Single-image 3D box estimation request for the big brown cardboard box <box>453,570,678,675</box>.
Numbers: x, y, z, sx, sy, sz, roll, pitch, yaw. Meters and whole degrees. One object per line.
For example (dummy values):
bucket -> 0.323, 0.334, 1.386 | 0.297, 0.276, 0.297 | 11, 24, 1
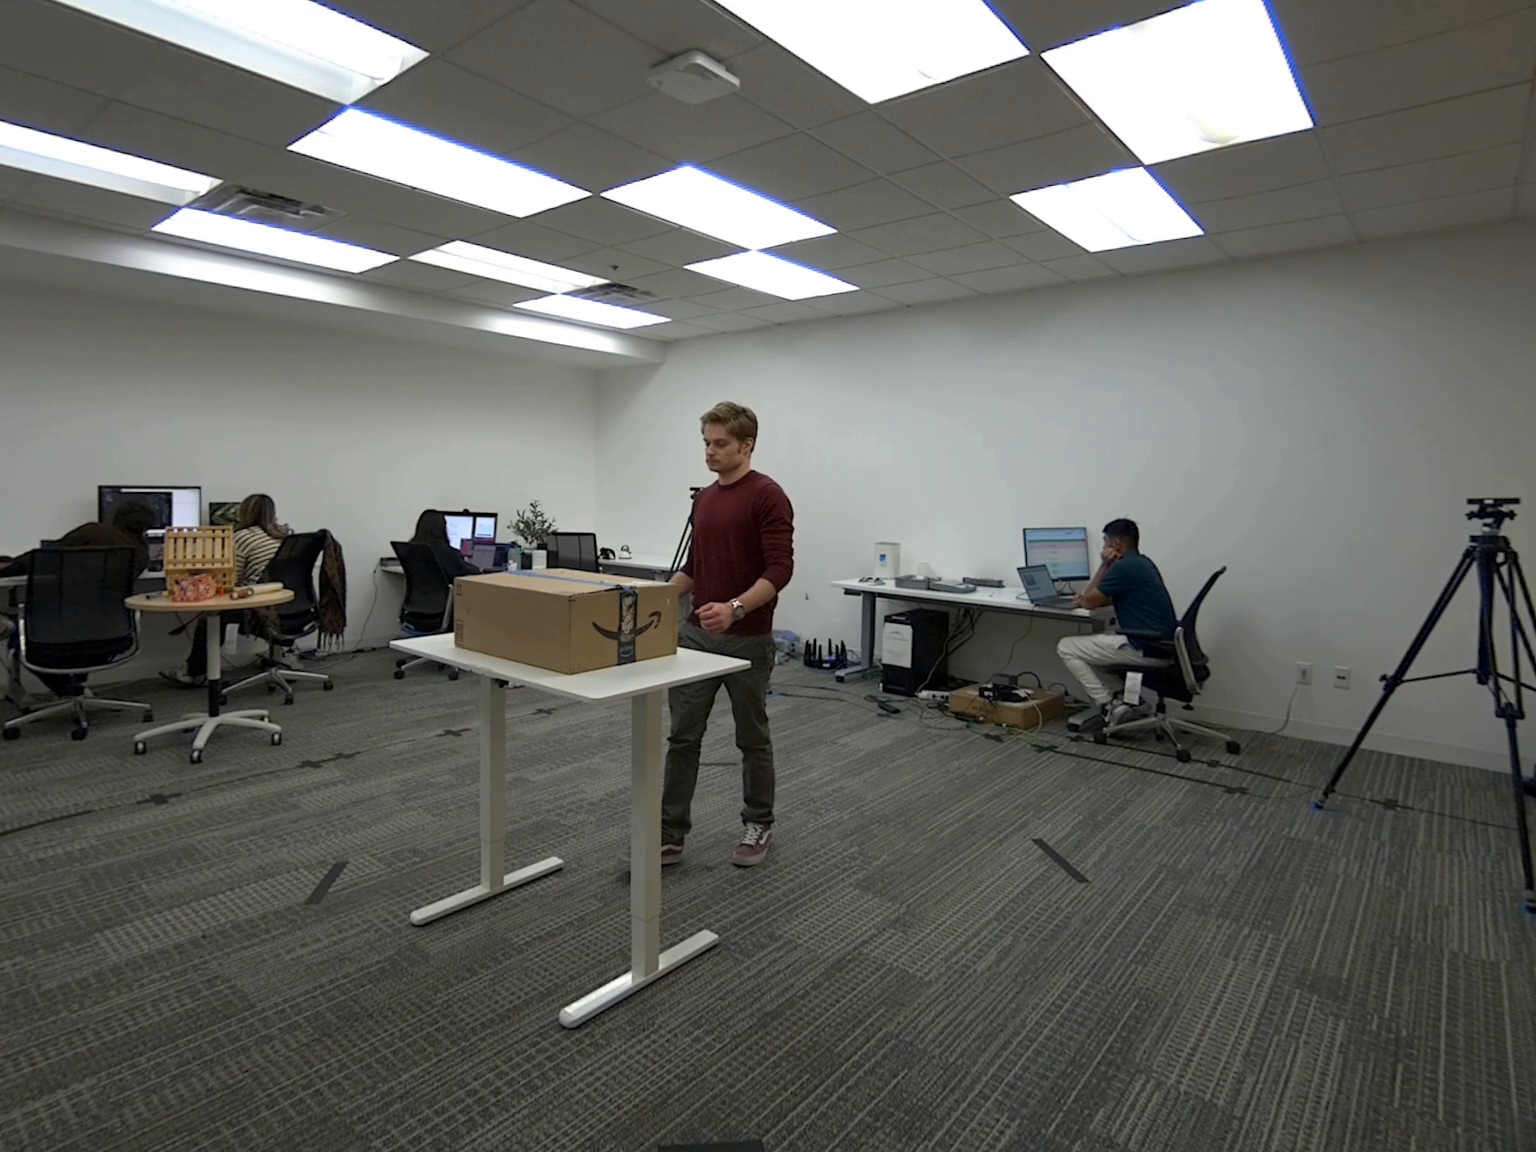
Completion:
big brown cardboard box -> -0.627, 0.118, 2.602 | 0.609, 0.232, 0.405 | 5, 7, 40
